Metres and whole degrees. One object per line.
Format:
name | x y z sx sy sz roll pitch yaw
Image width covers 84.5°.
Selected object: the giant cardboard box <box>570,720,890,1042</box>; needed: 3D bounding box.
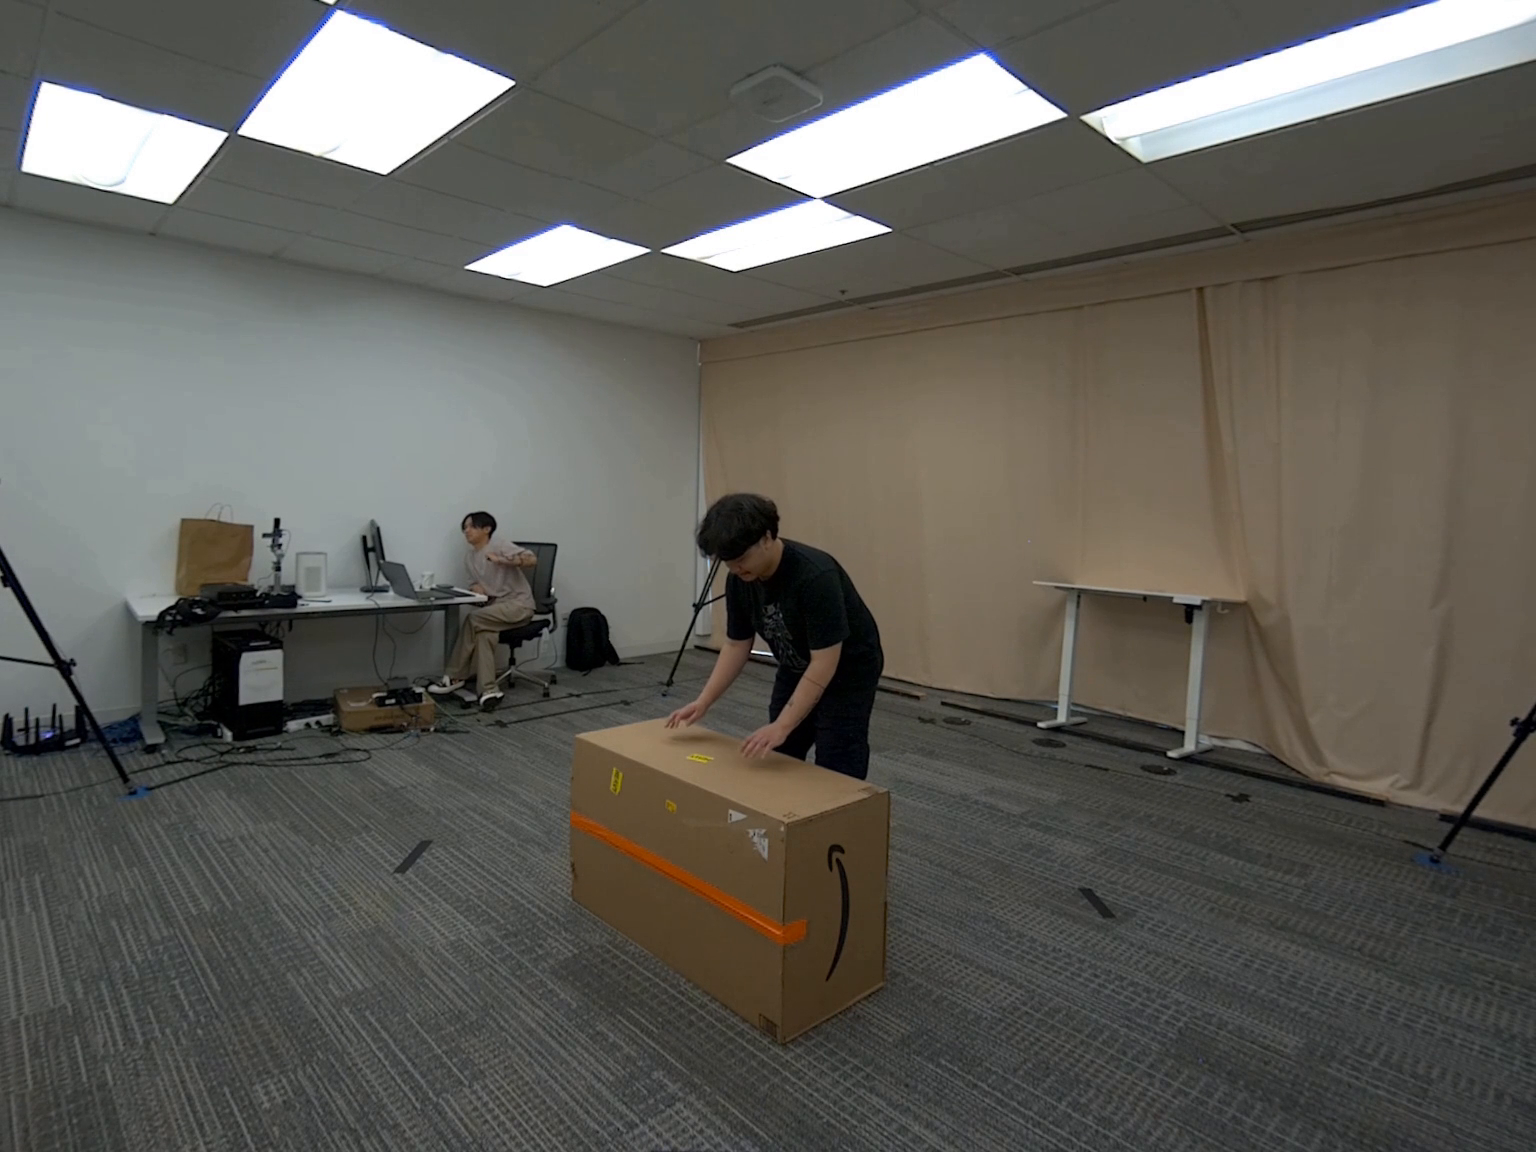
giant cardboard box | -0.174 0.864 2.640 0.437 0.582 1.053 -3 6 -43
